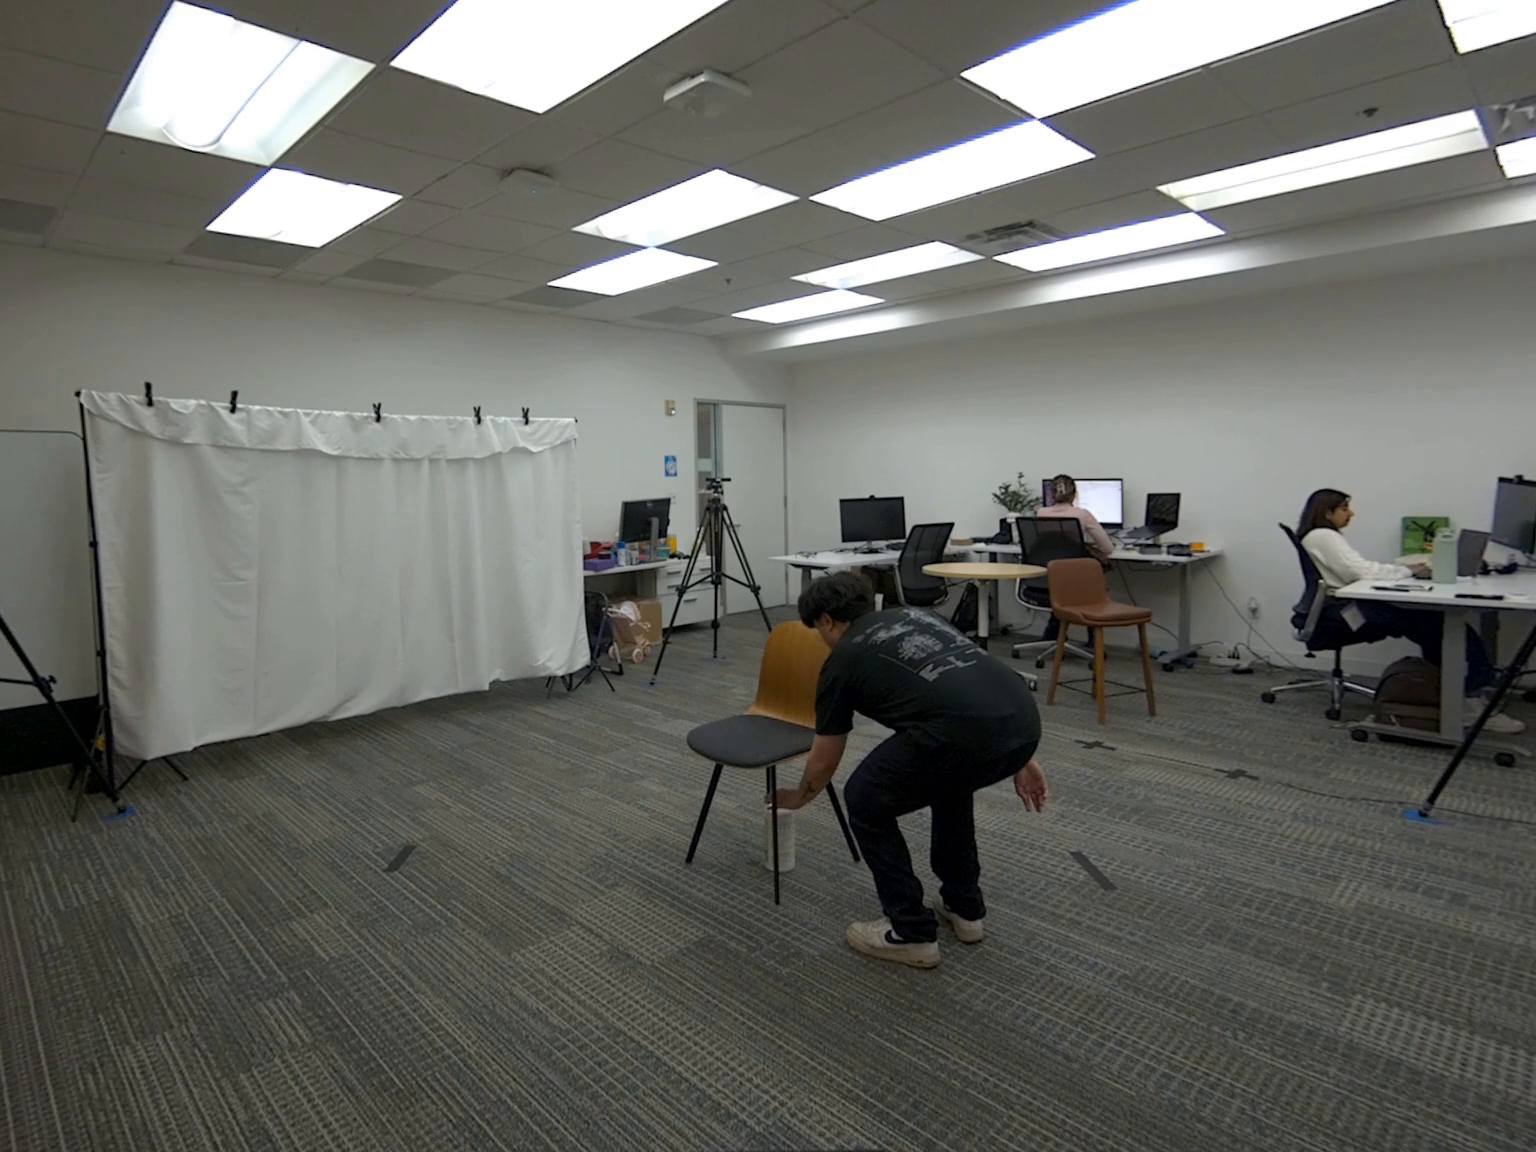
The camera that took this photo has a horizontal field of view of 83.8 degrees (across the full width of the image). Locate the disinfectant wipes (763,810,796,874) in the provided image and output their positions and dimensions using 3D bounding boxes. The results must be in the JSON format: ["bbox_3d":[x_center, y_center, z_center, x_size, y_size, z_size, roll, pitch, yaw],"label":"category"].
[{"bbox_3d":[0.053,0.949,3.076,0.118,0.217,0.118,0,3,-2],"label":"disinfectant wipes"}]
